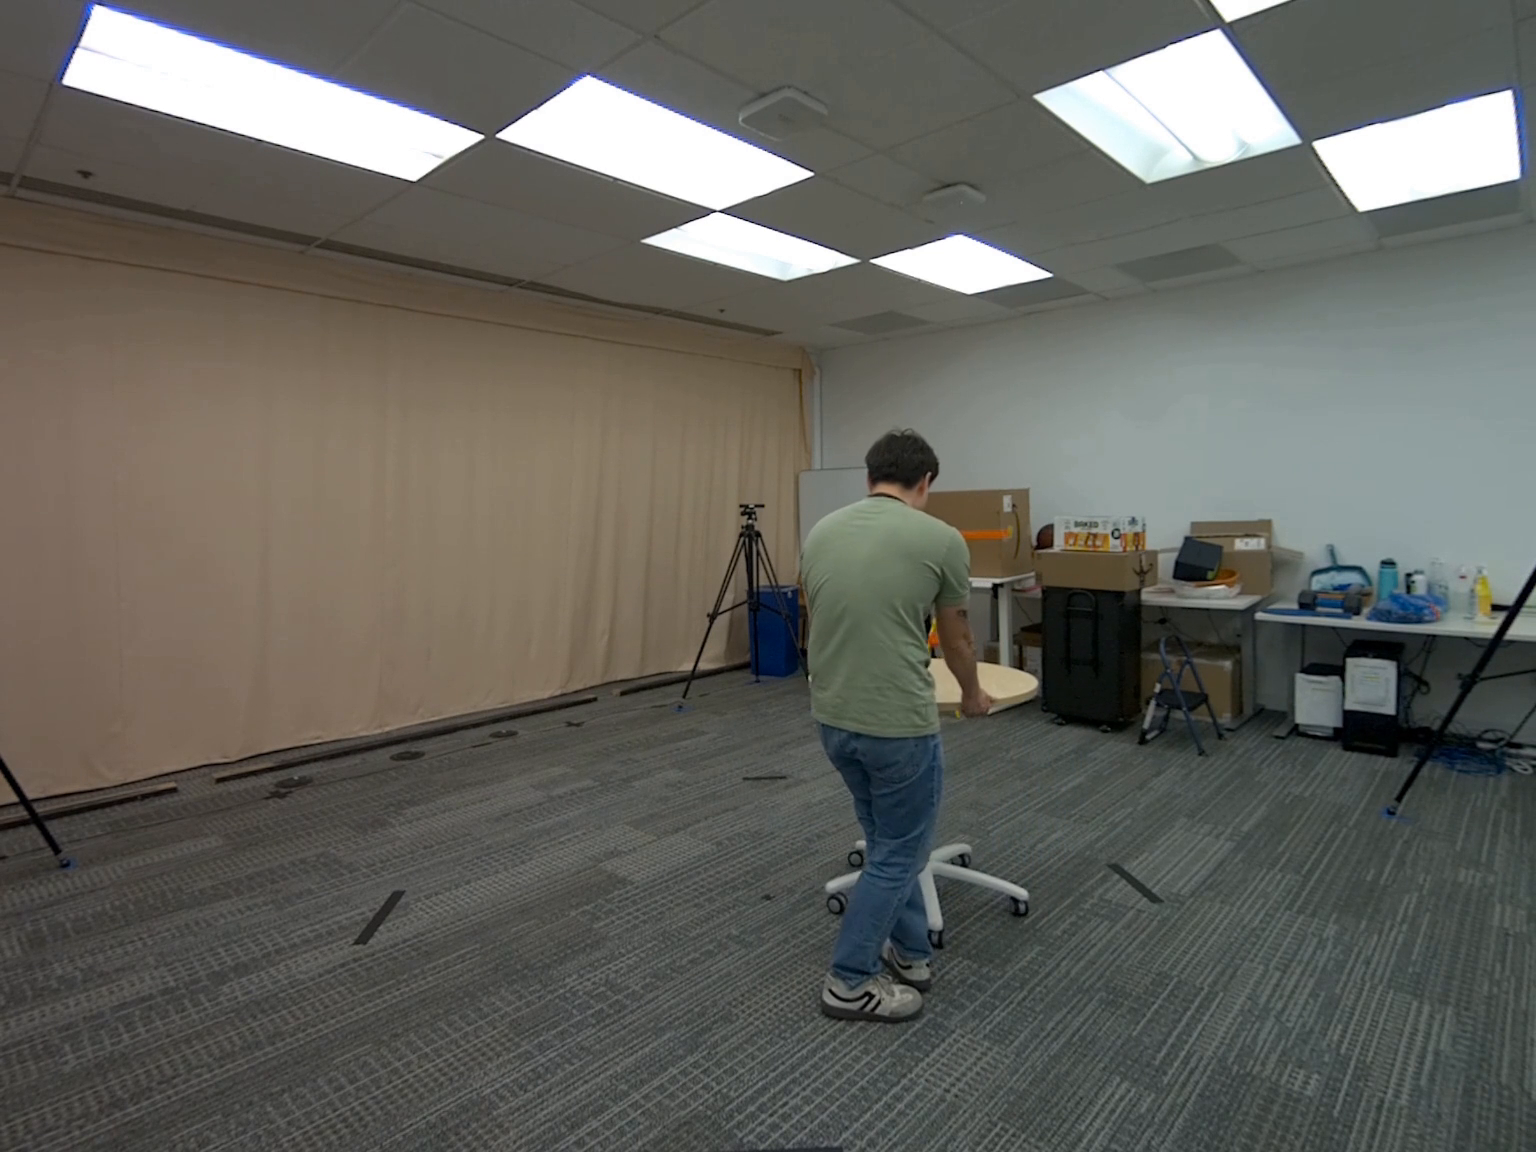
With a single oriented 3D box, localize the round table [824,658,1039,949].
[{"bbox_3d":[0.542,0.744,2.930,0.763,0.792,0.766,-1,4,-2],"label":"round table"}]
